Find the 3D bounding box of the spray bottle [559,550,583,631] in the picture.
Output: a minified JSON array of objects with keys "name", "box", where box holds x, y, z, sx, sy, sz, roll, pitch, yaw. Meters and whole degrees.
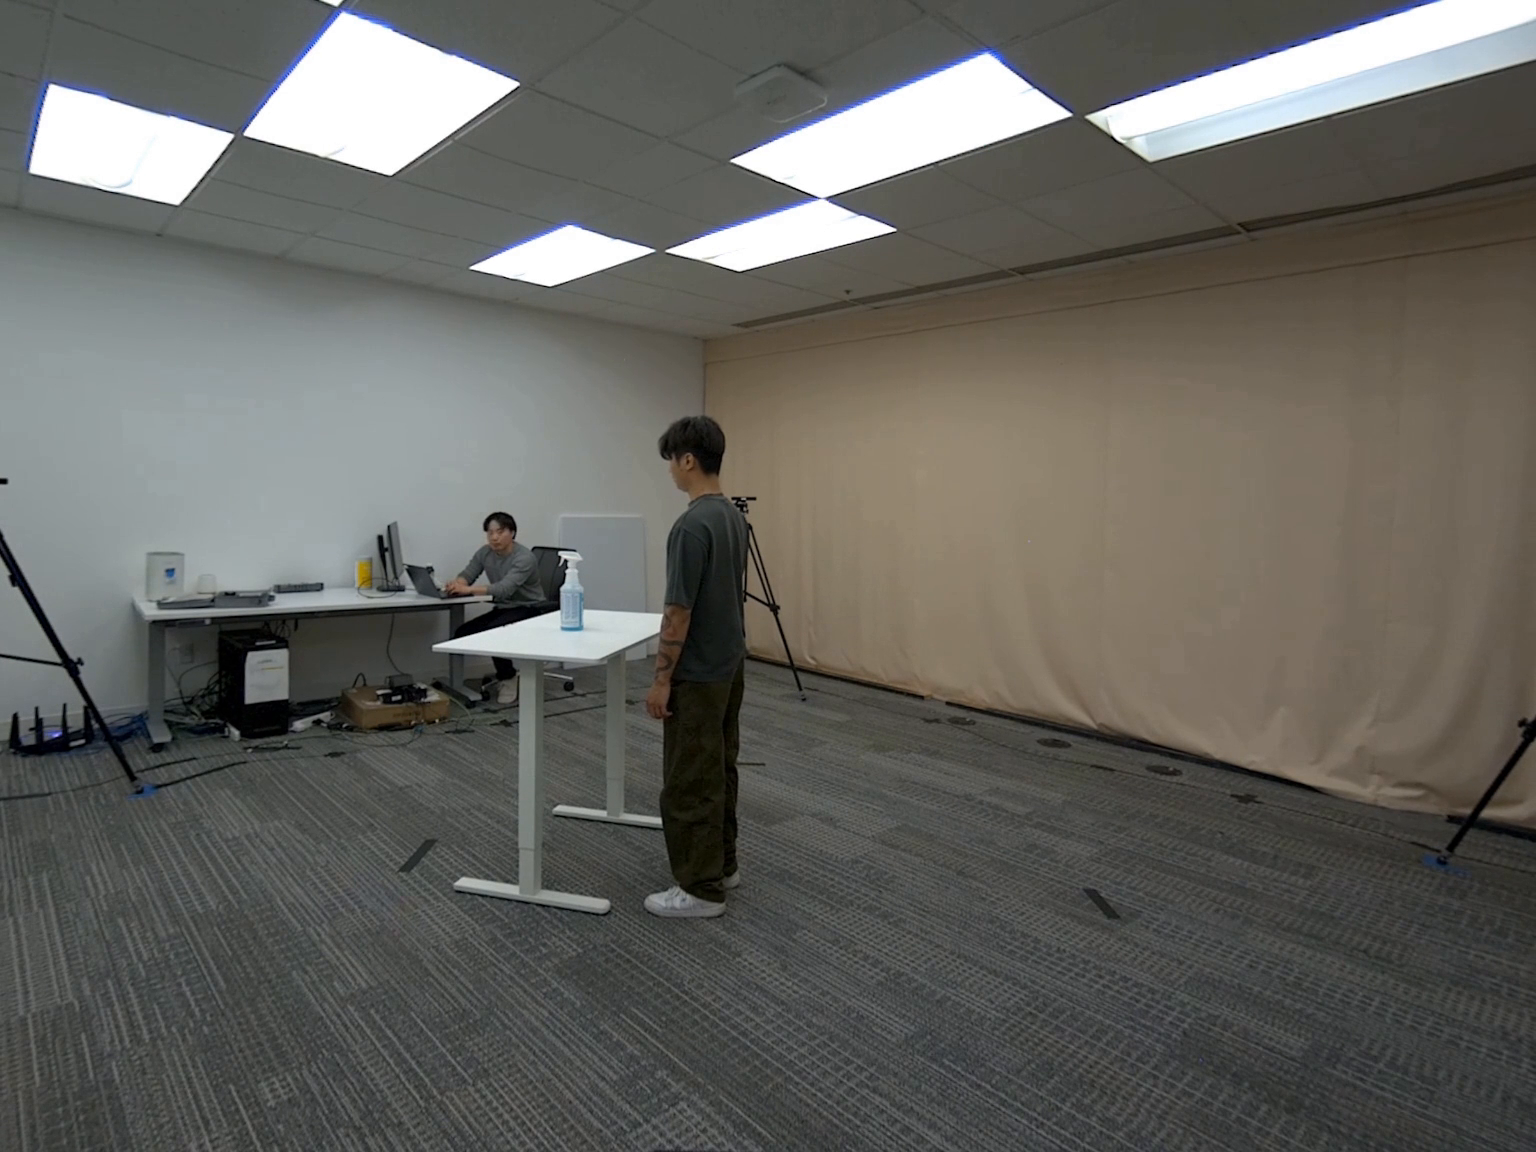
[{"name":"spray bottle","box":[-0.744,0.057,3.182,0.092,0.296,0.085,2,5,28]}]
